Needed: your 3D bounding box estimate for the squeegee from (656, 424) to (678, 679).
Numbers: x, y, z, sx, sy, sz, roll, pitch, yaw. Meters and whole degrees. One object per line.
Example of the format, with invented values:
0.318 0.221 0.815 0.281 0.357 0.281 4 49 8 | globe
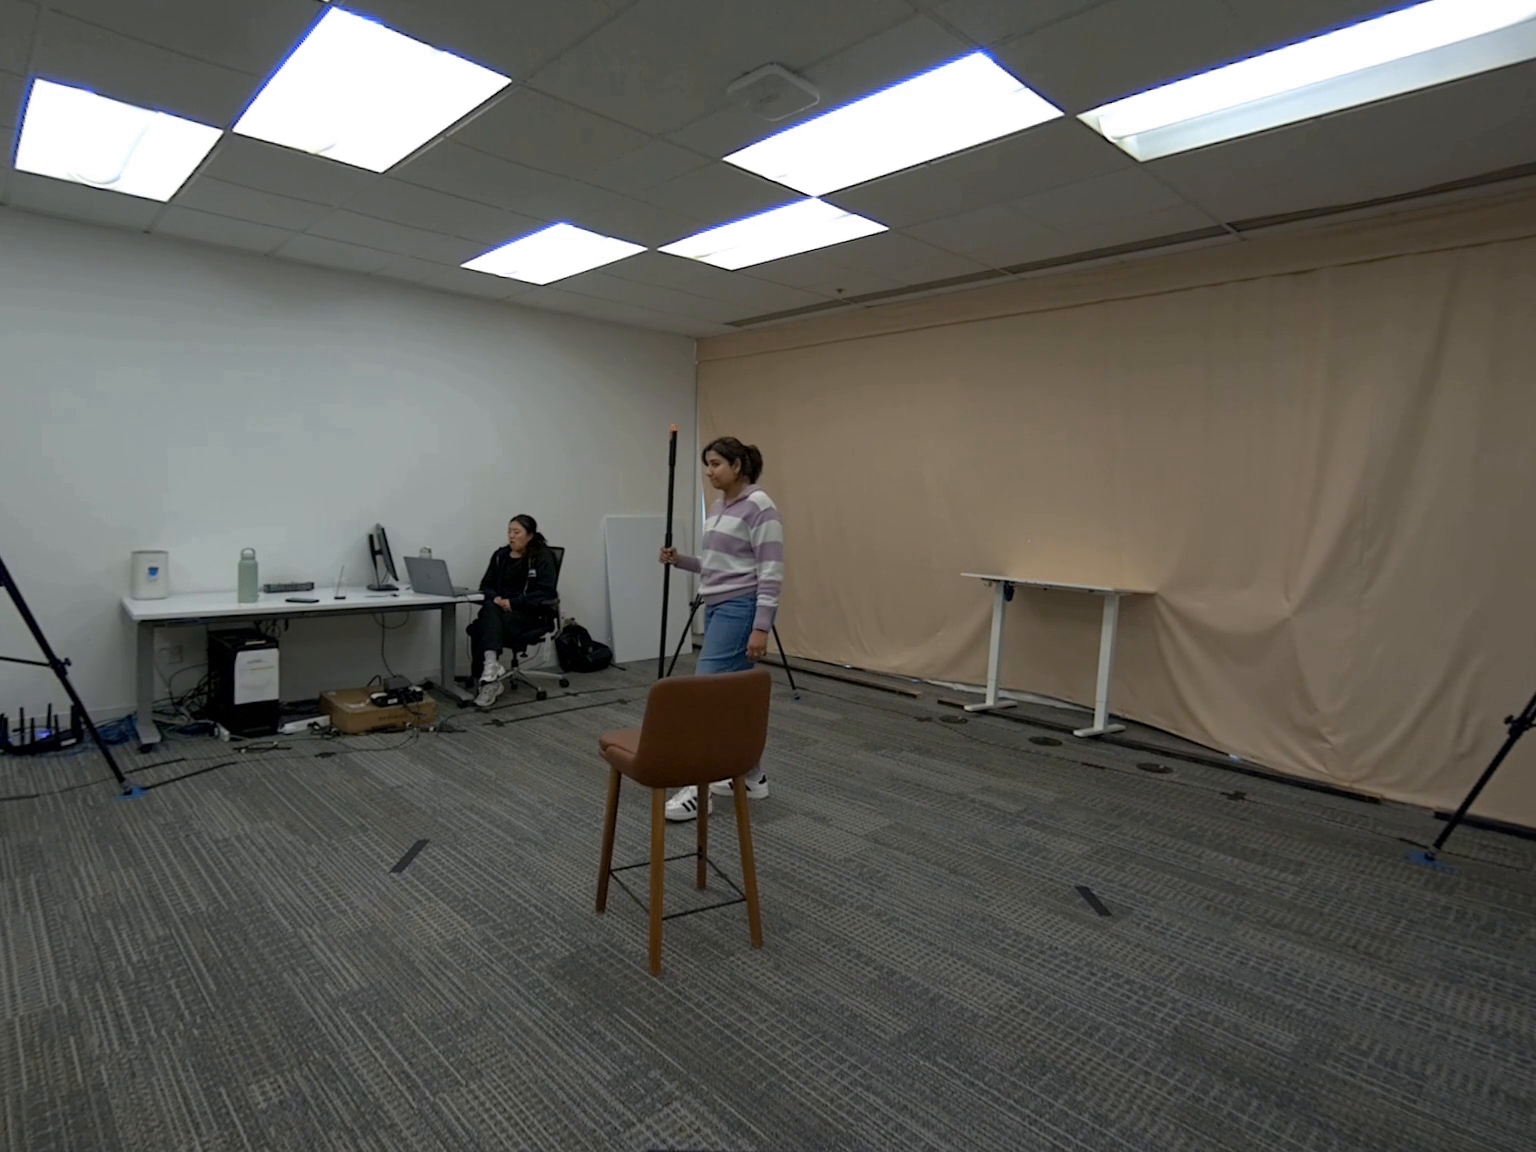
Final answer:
-0.485 0.059 3.974 0.054 1.528 0.433 7 9 17 | squeegee
